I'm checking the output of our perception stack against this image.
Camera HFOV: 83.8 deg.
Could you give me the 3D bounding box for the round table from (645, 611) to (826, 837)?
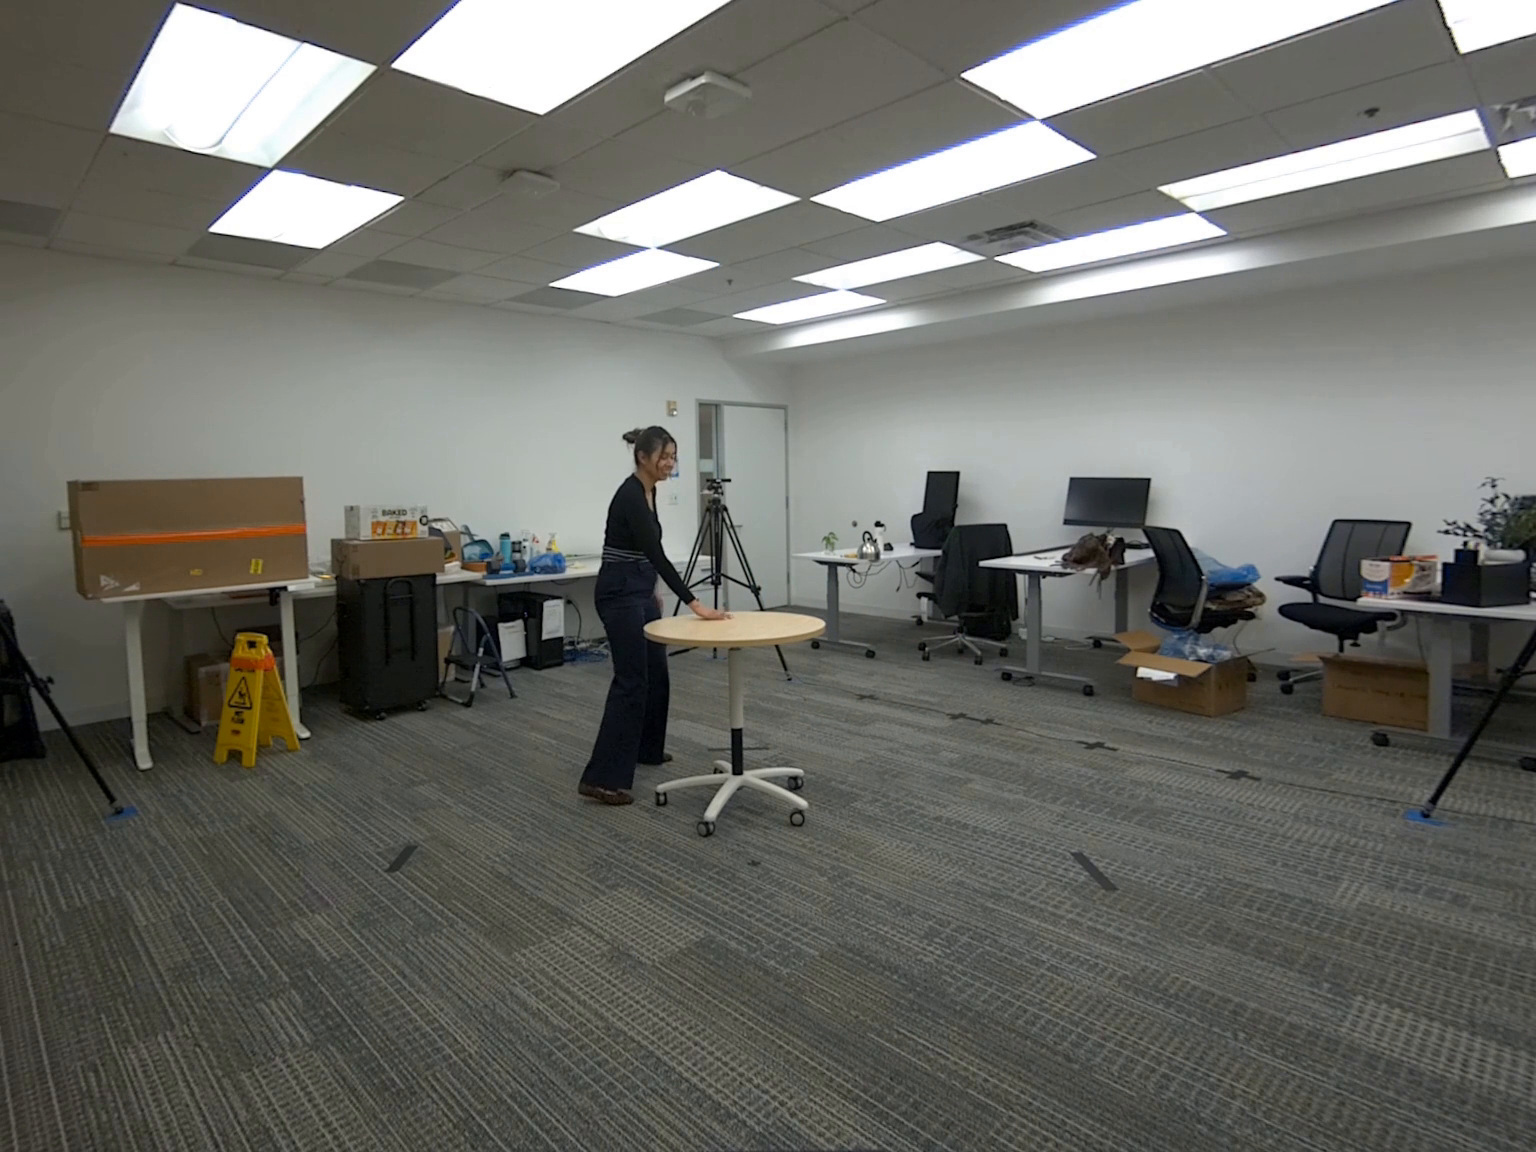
[{"bbox_3d":[-0.131,0.598,3.631,0.763,0.791,0.767,-1,4,-2],"label":"round table"}]
